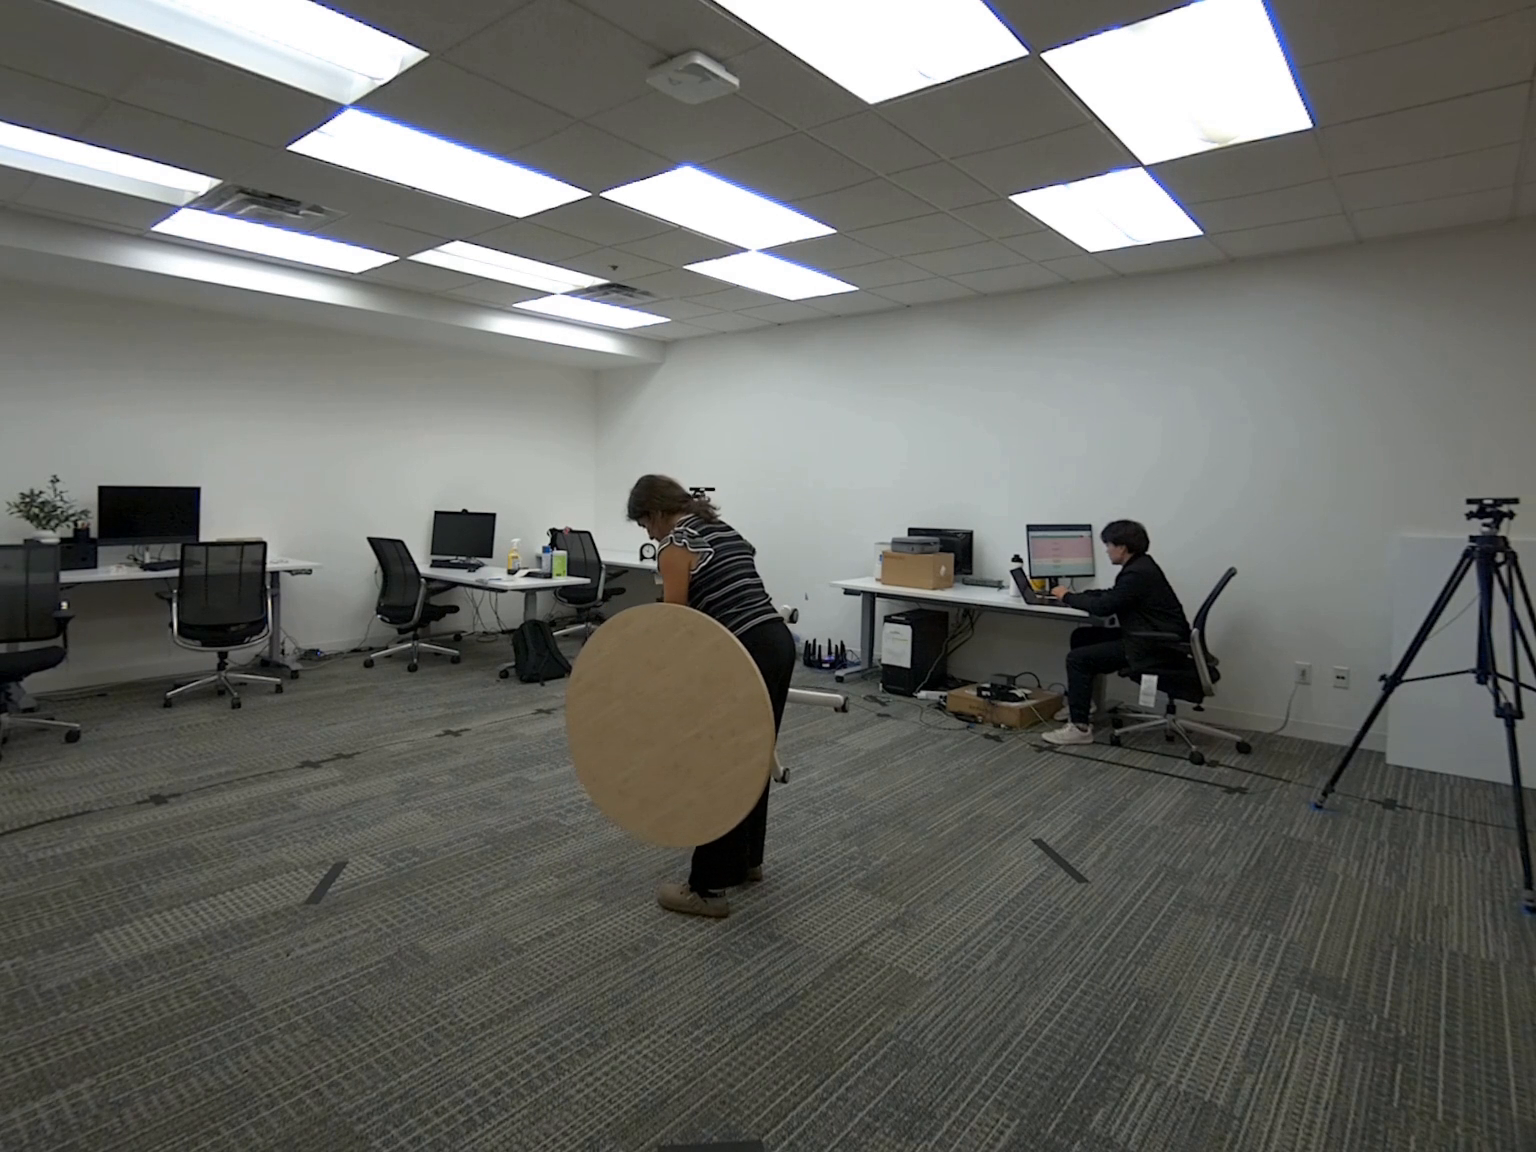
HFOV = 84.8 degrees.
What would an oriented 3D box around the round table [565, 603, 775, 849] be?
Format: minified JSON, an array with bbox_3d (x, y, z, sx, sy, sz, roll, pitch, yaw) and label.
[{"bbox_3d":[-0.181,0.461,3.044,0.785,0.763,0.774,3,2,27],"label":"round table"}]
